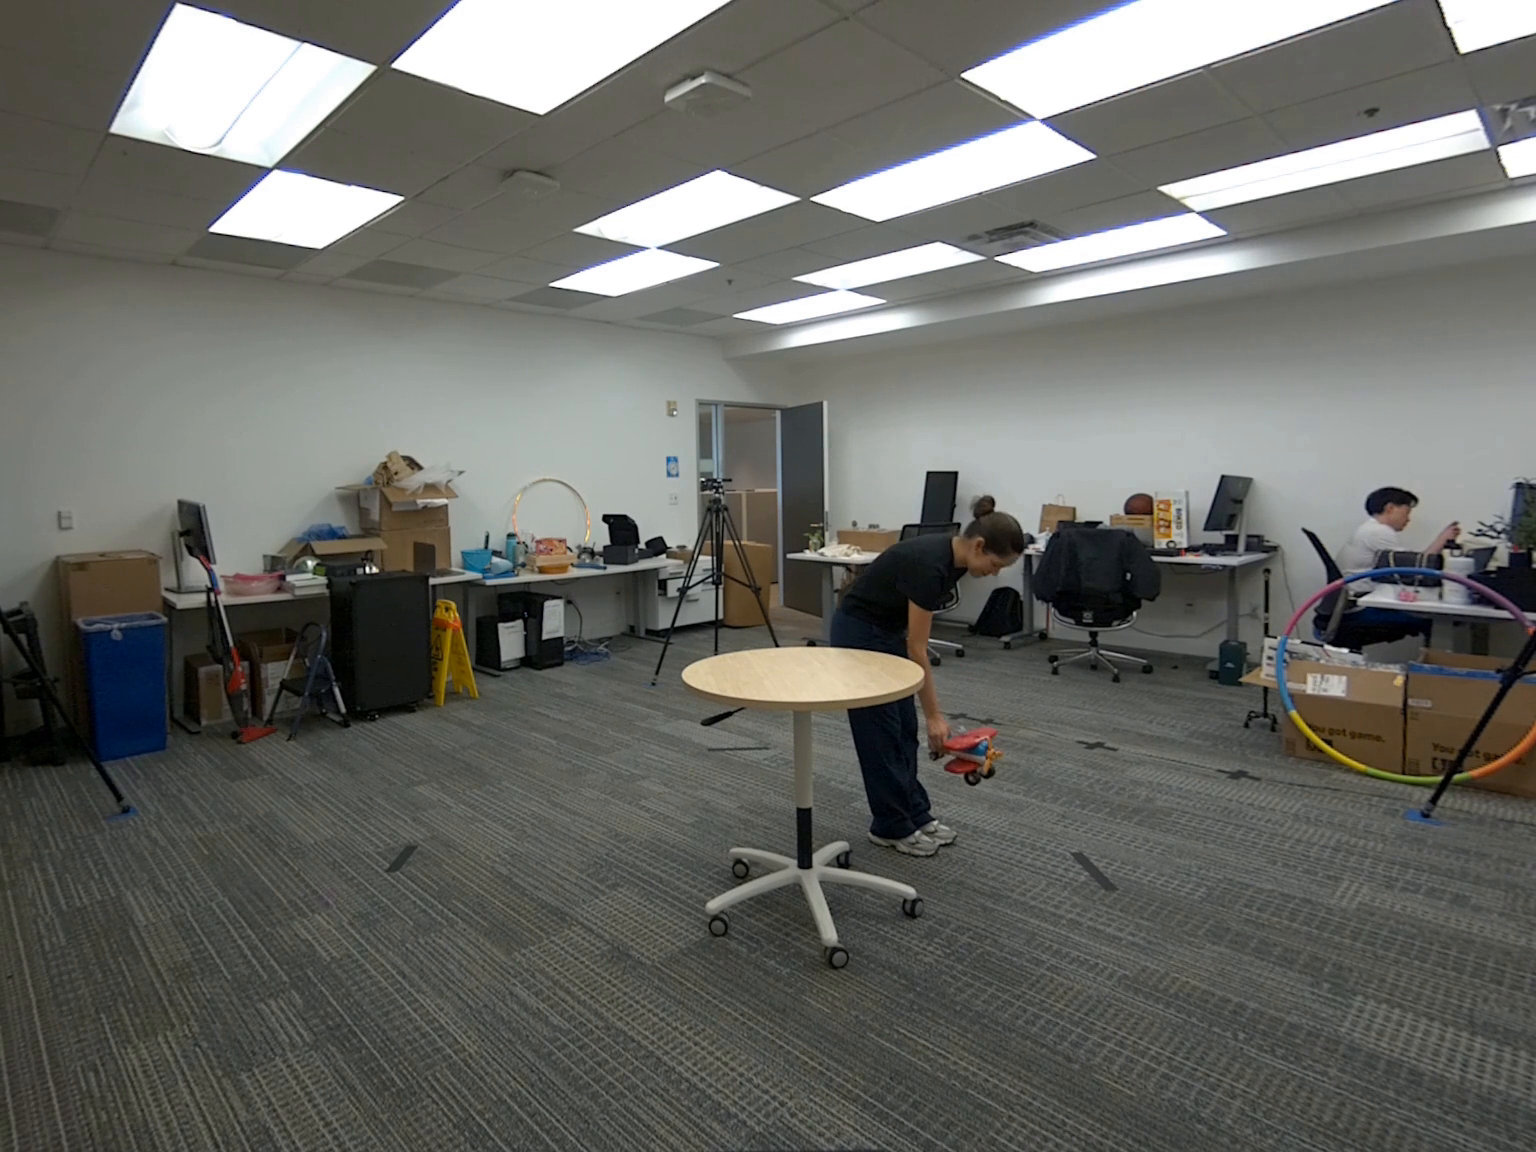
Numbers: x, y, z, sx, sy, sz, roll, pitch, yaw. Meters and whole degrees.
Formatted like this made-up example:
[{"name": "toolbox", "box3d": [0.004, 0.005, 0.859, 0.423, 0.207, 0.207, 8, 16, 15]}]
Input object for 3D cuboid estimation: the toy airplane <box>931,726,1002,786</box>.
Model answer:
[{"name": "toy airplane", "box3d": [0.664, 0.610, 2.984, 0.265, 0.154, 0.249, 12, 17, 19]}]
